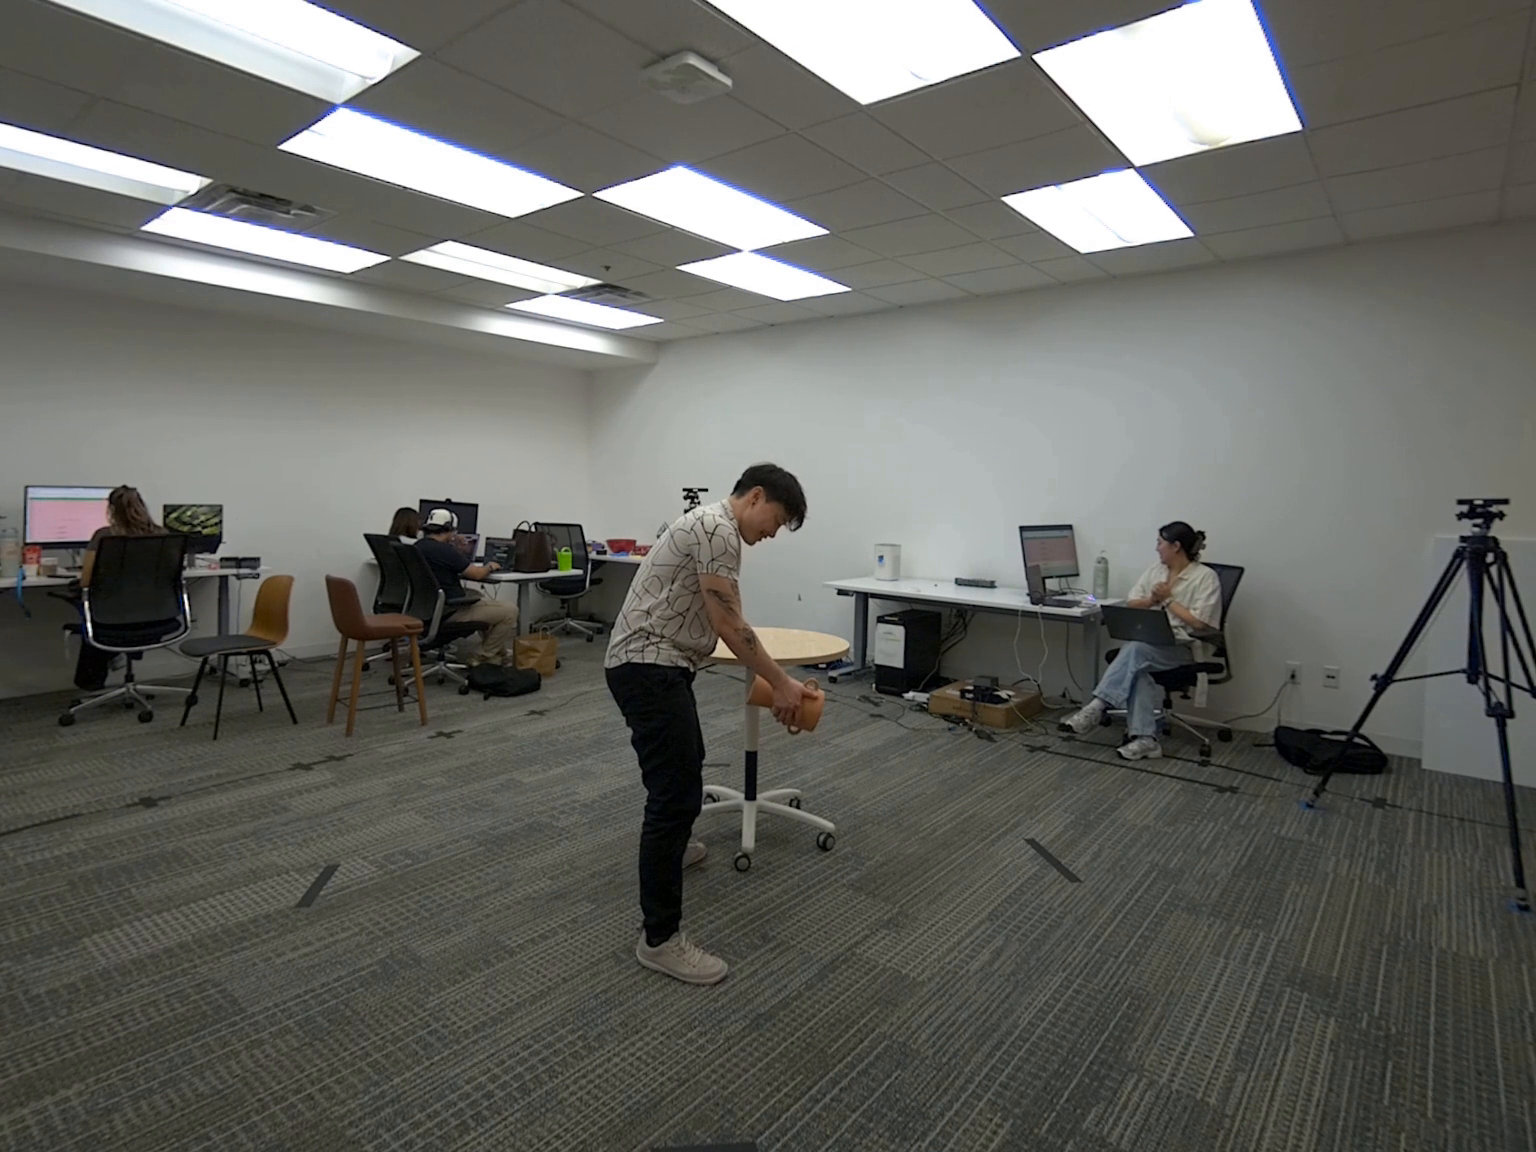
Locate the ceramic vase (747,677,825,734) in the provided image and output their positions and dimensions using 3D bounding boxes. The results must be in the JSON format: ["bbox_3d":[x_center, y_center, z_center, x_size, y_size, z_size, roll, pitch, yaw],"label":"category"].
[{"bbox_3d":[0.053,0.381,2.651,0.218,0.161,0.133,19,-34,-5],"label":"ceramic vase"}]
